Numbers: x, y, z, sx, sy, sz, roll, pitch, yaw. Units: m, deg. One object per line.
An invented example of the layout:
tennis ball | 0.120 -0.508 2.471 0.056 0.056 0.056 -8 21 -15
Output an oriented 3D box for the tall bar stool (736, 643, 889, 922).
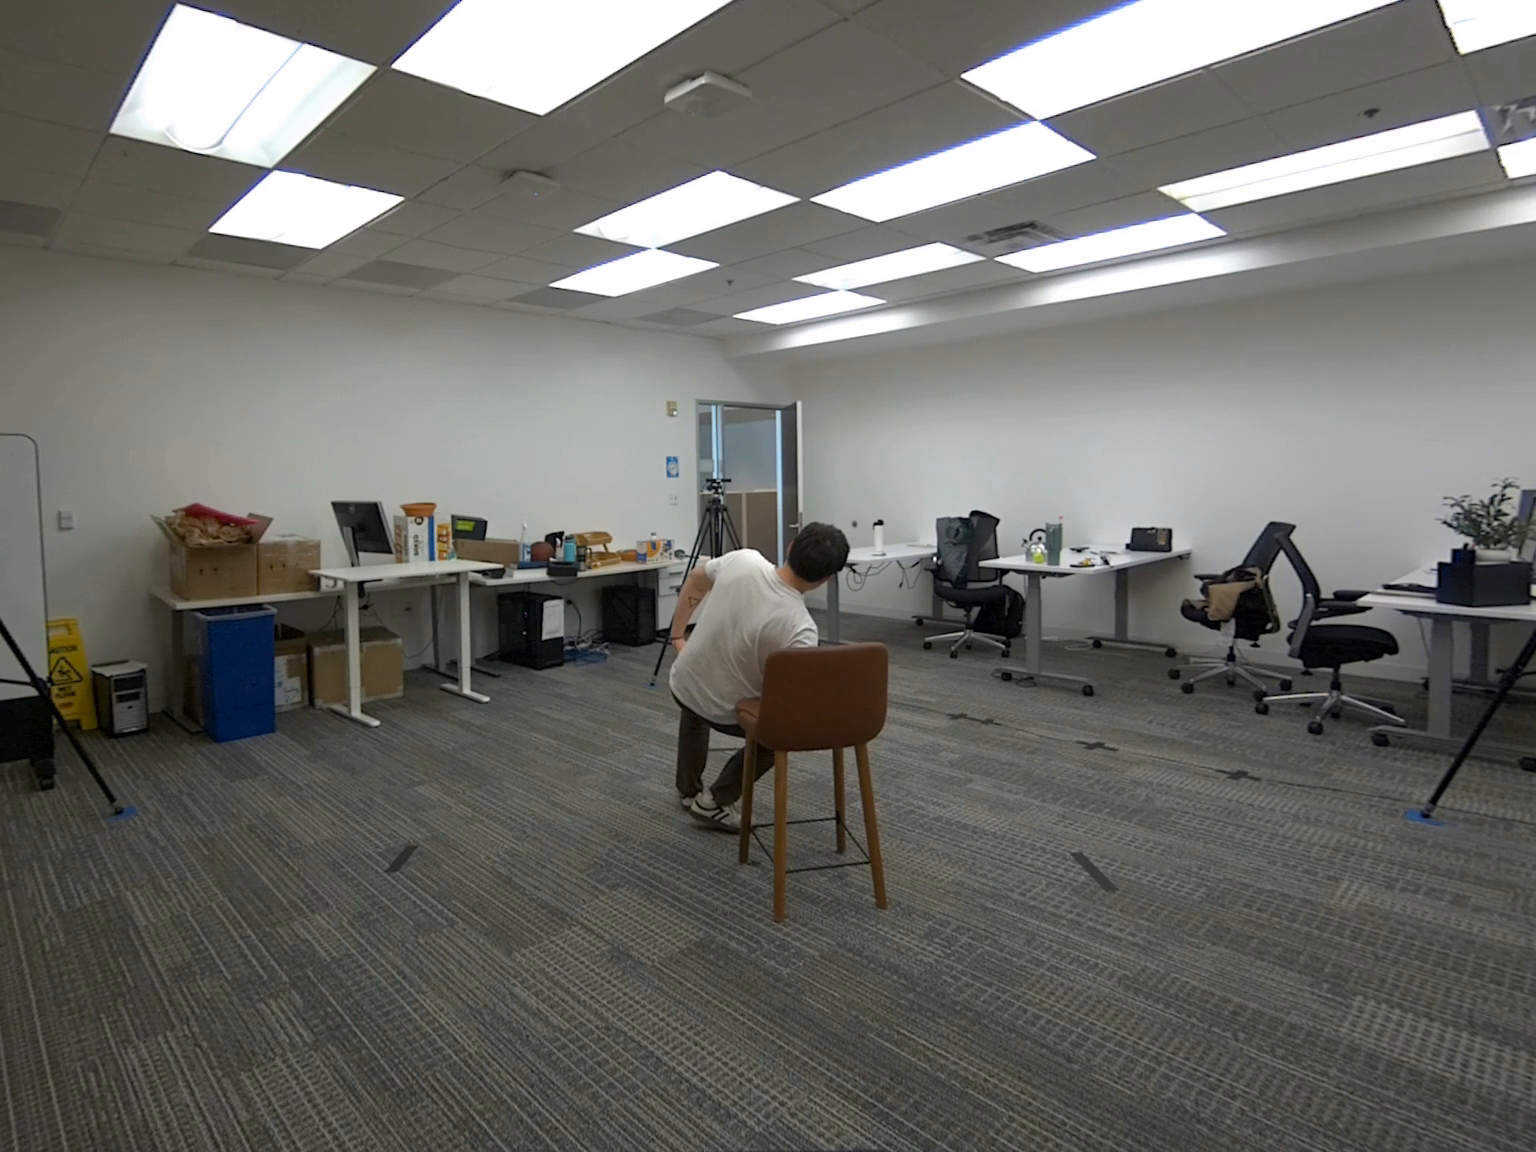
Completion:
tall bar stool | 0.144 0.627 2.914 0.451 0.885 0.476 -2 5 -14
